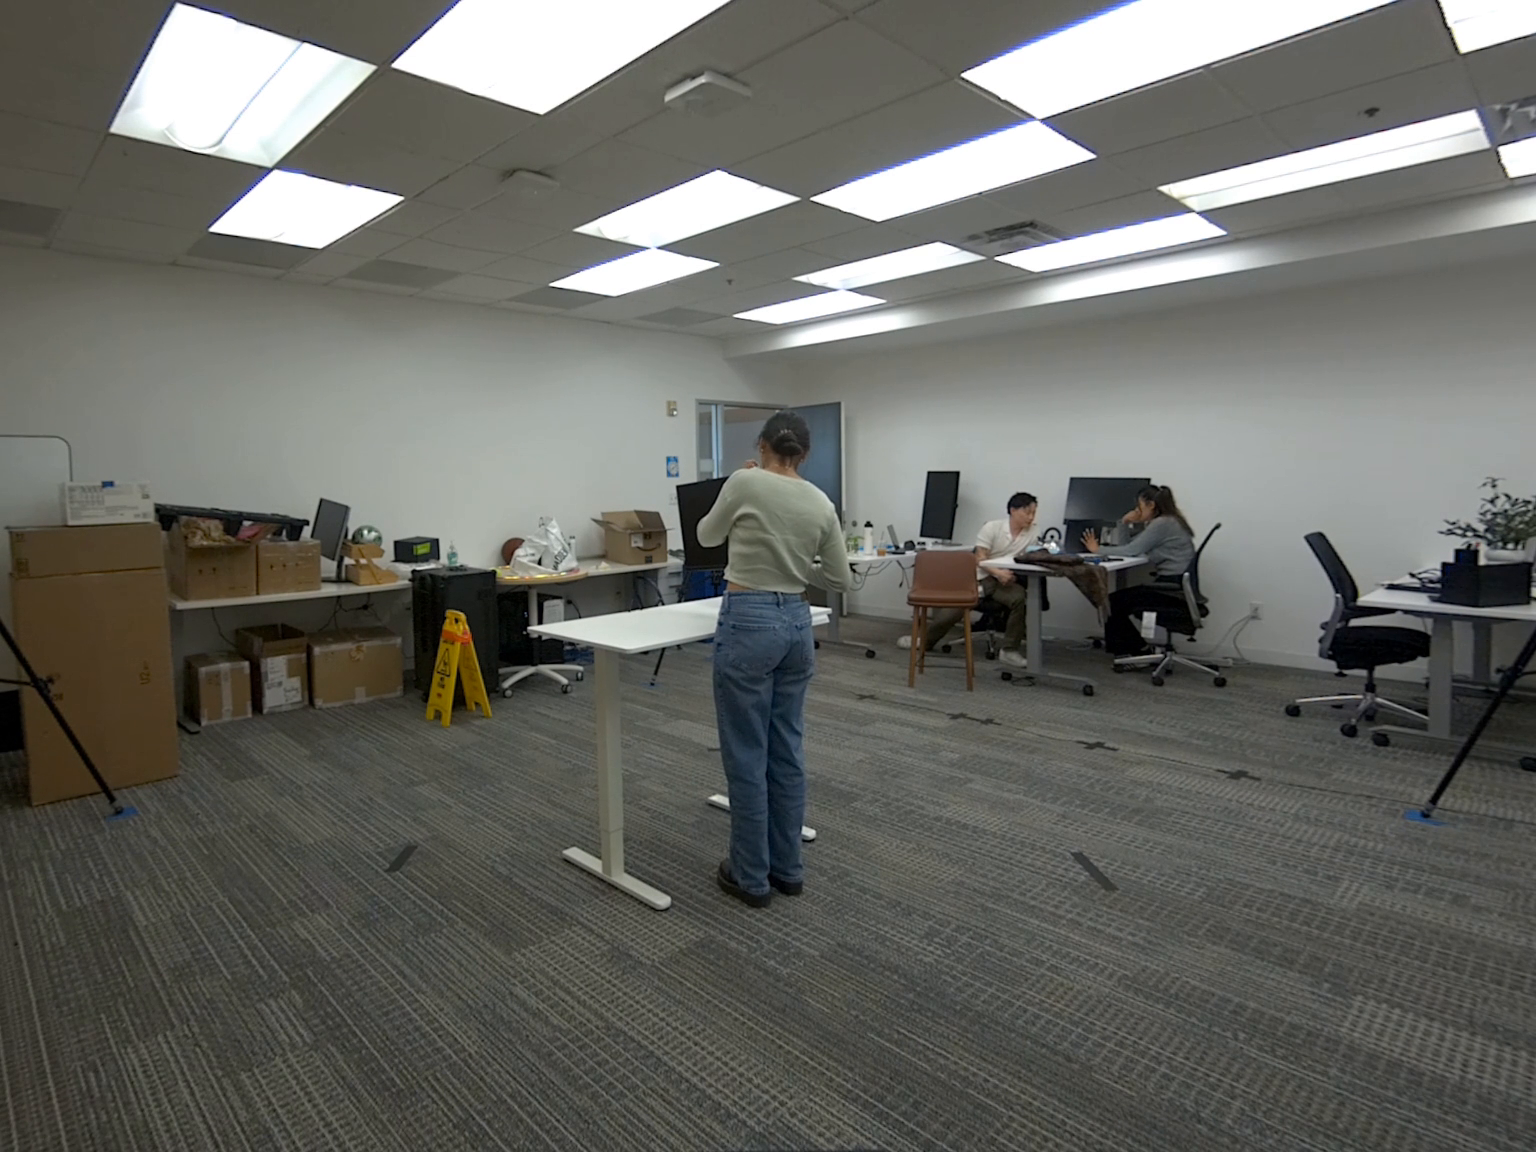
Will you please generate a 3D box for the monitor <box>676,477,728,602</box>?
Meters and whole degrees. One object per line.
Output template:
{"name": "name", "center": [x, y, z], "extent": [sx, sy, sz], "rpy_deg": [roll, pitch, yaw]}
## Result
{"name": "monitor", "center": [-0.107, -0.131, 3.318], "extent": [0.184, 0.516, 0.554], "rpy_deg": [-27, 16, -40]}
